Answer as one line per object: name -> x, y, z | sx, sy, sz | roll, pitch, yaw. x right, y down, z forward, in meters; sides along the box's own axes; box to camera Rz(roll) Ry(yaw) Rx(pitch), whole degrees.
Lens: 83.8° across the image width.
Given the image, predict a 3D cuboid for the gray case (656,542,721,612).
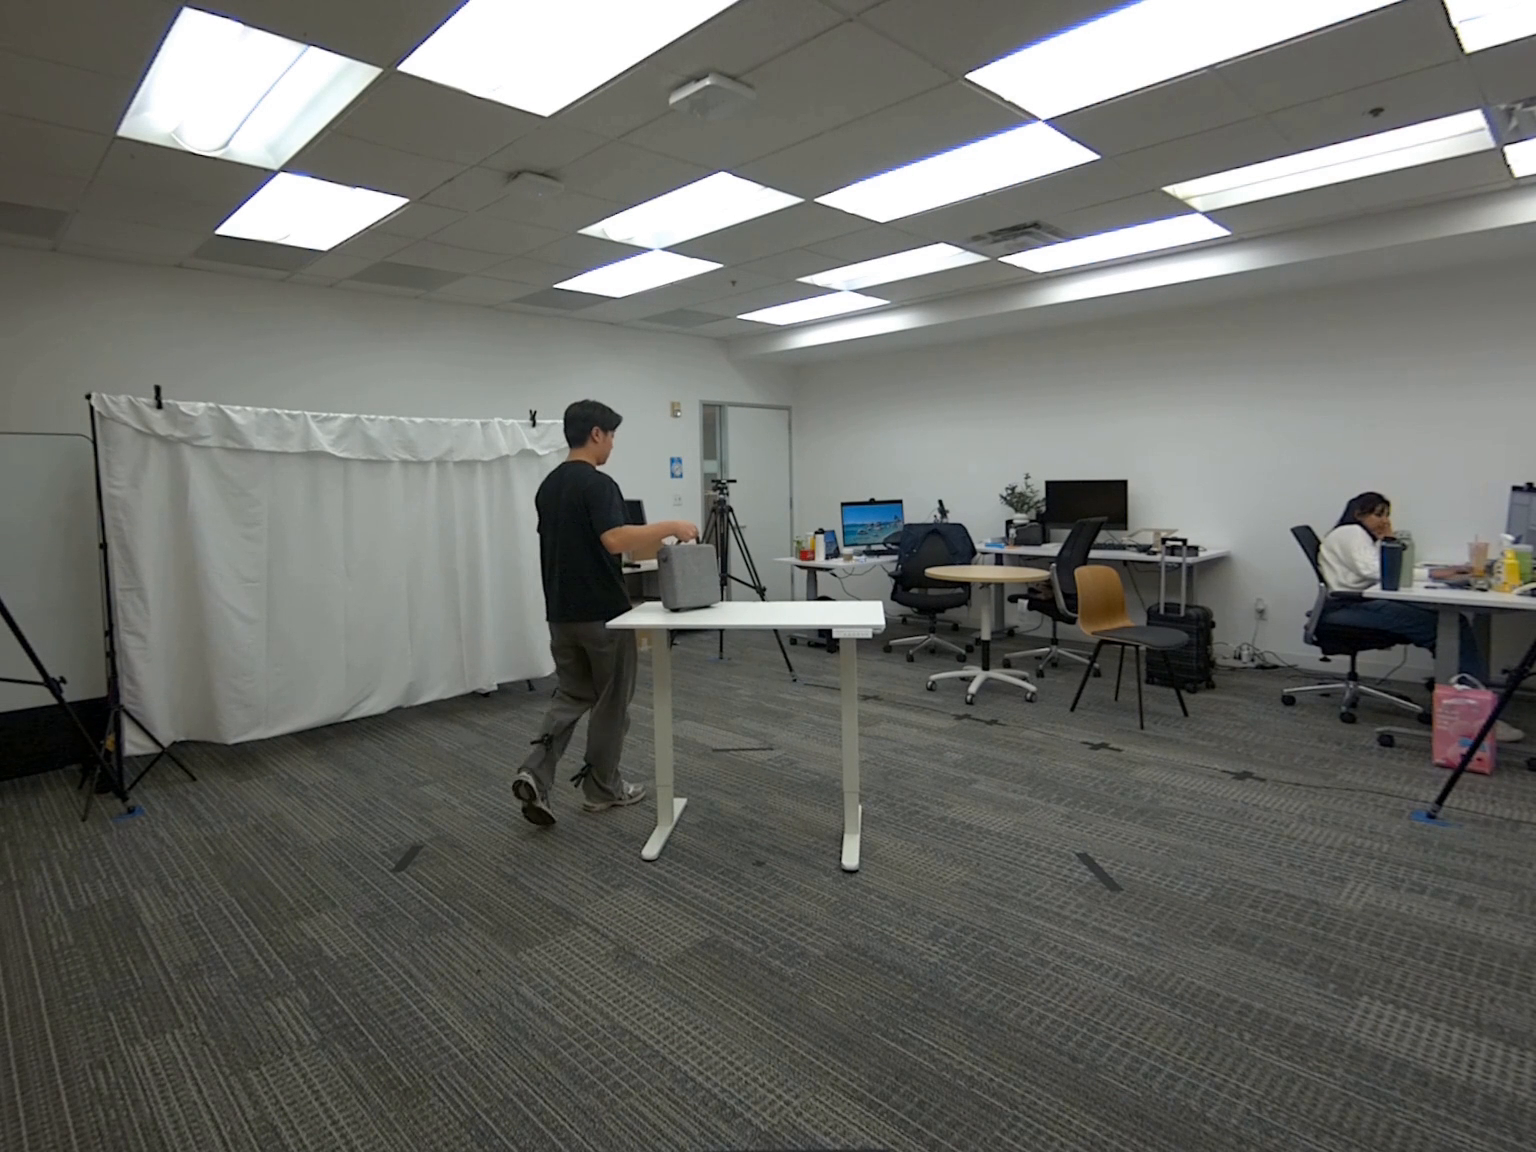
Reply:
gray case -> -0.316, -0.010, 3.444 | 0.256, 0.288, 0.105 | -2, -5, -45
